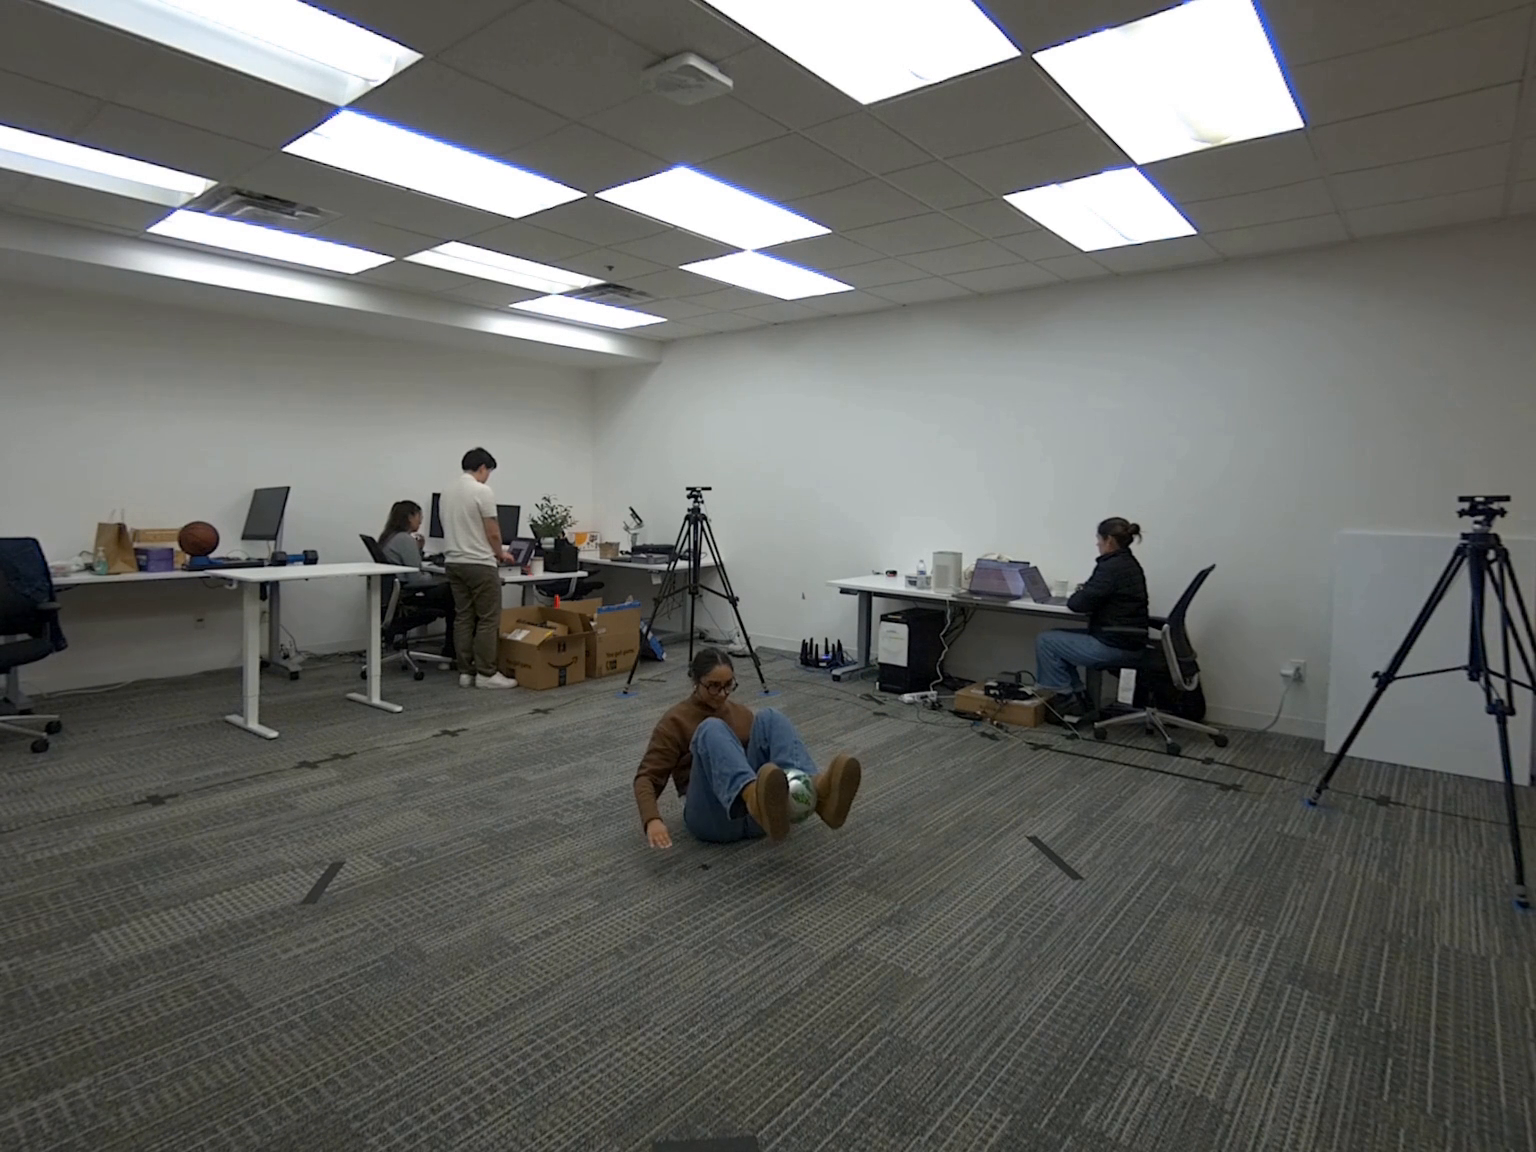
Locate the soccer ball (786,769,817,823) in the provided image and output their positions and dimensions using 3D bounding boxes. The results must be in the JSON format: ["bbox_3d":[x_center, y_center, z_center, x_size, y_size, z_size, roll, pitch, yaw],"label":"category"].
[{"bbox_3d":[0.081,0.774,3.063,0.187,0.187,0.188,1,4,-2],"label":"soccer ball"}]
